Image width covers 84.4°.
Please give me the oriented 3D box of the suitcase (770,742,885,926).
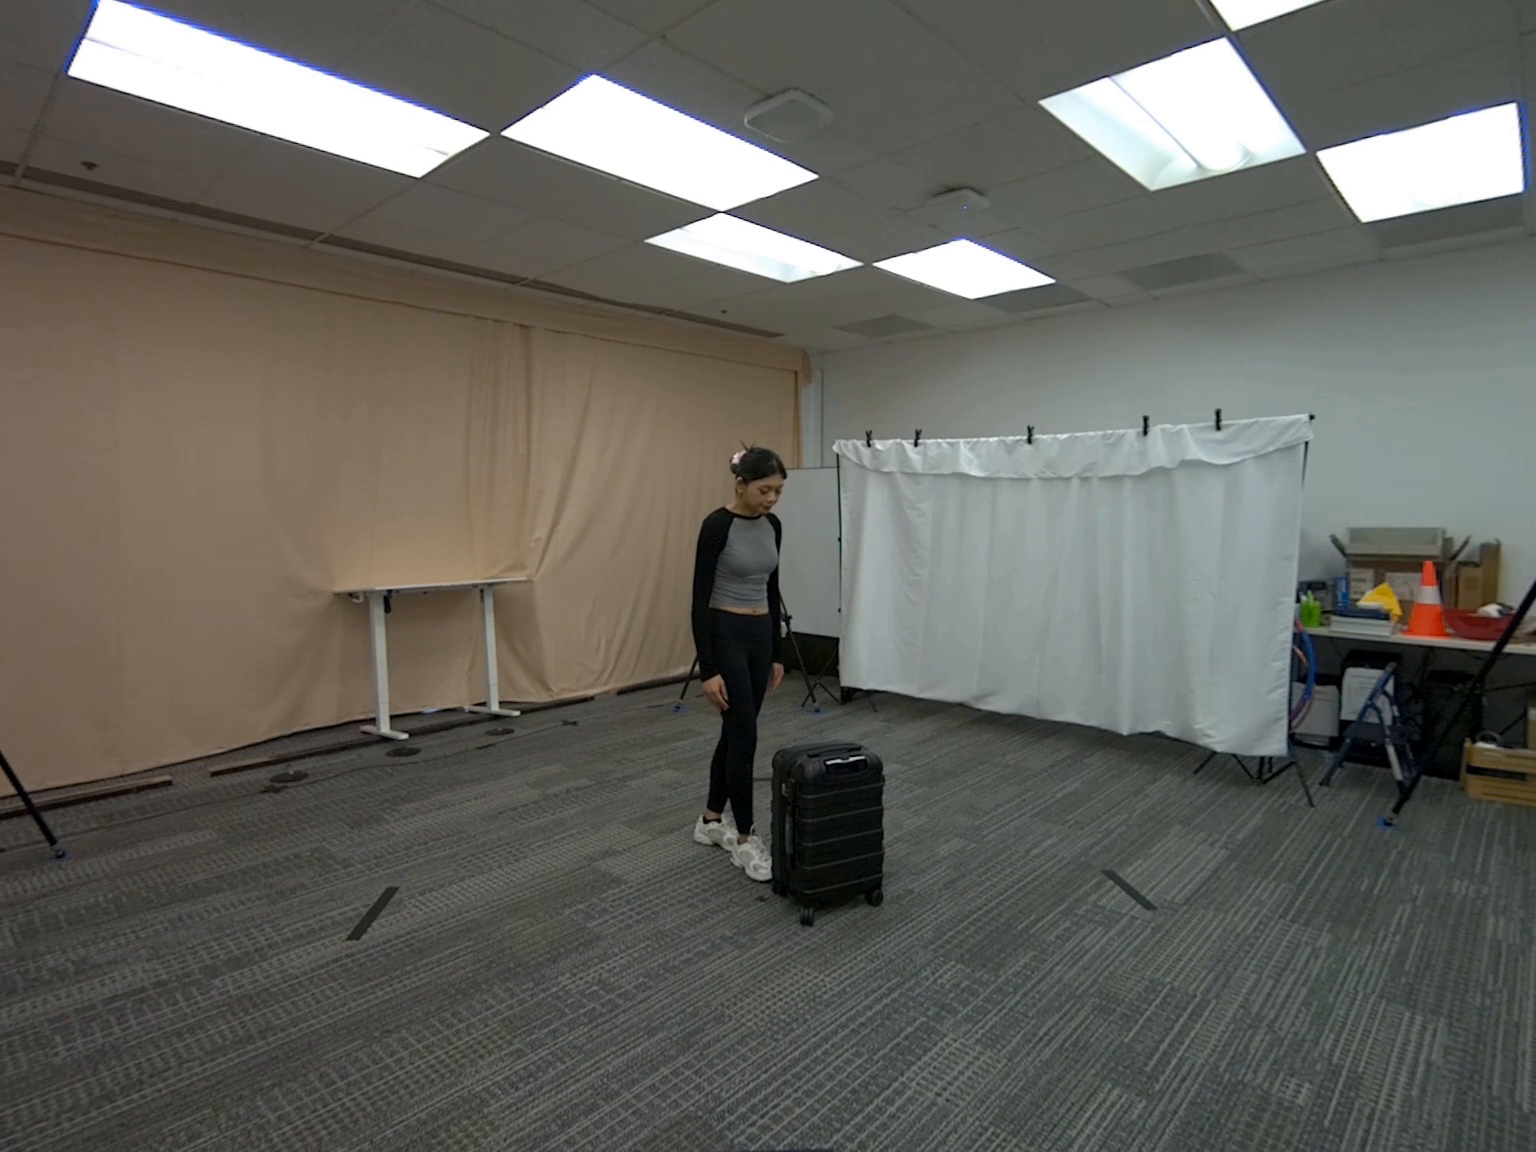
[{"bbox_3d":[0.209,0.864,2.963,0.366,0.548,0.255,-3,3,-27],"label":"suitcase"}]
